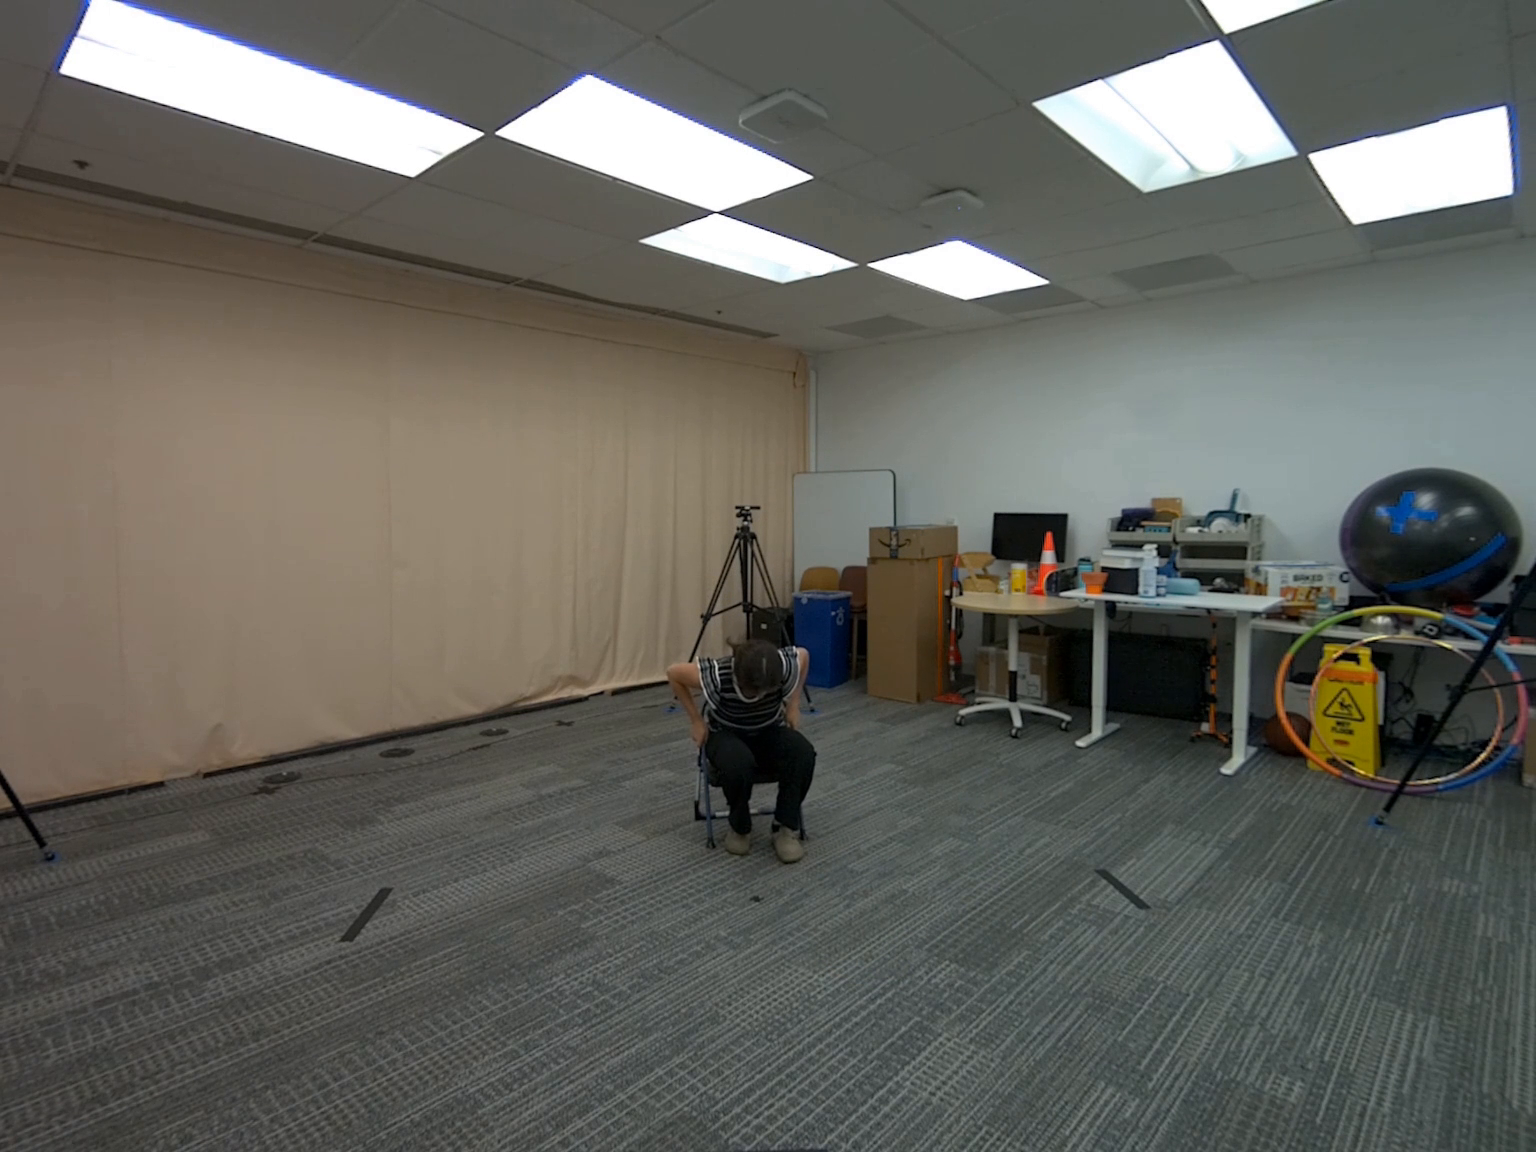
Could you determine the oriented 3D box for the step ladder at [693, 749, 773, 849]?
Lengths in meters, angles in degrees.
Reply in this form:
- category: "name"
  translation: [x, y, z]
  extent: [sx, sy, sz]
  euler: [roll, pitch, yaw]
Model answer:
- category: "step ladder"
  translation: [-0.086, 0.798, 3.625]
  extent: [0.424, 0.605, 0.355]
  euler: [0, 3, -14]
